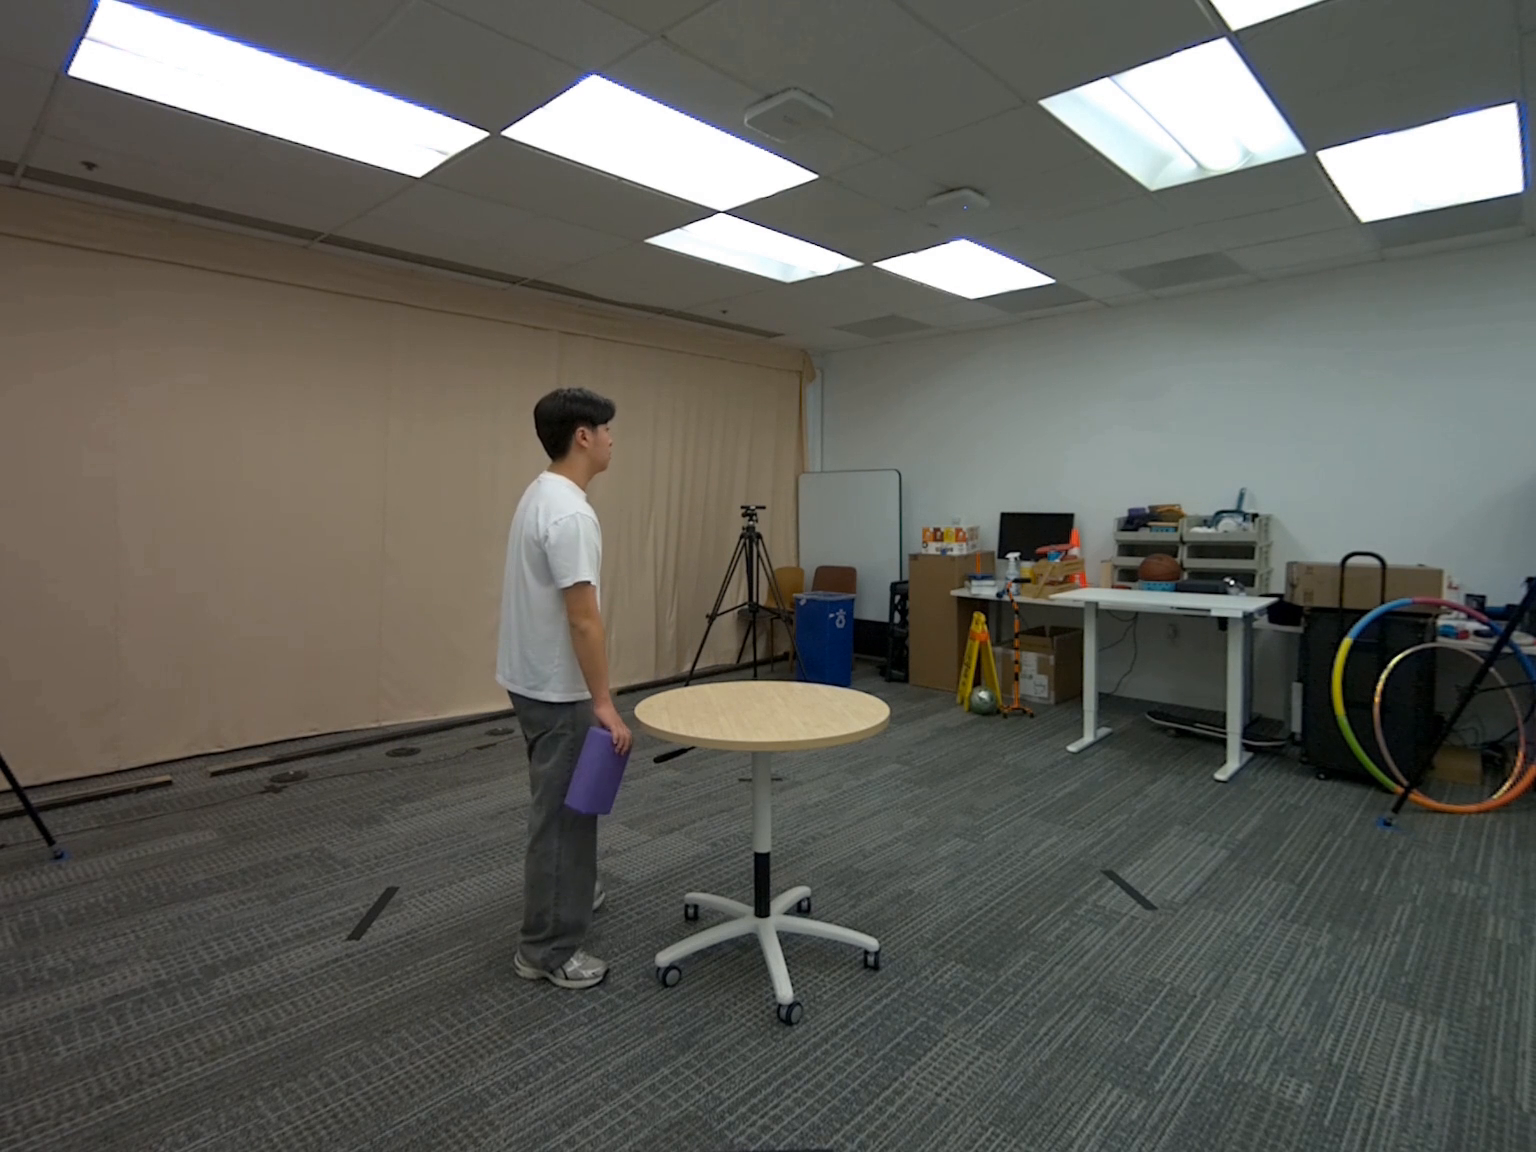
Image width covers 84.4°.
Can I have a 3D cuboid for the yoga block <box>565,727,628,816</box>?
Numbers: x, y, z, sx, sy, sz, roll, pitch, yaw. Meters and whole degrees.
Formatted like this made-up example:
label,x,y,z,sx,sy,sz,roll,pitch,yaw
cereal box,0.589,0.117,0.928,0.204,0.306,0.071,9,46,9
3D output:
label,x,y,z,sx,sy,sz,roll,pitch,yaw
yoga block,-0.474,0.561,2.392,0.079,0.230,0.144,12,-10,27
